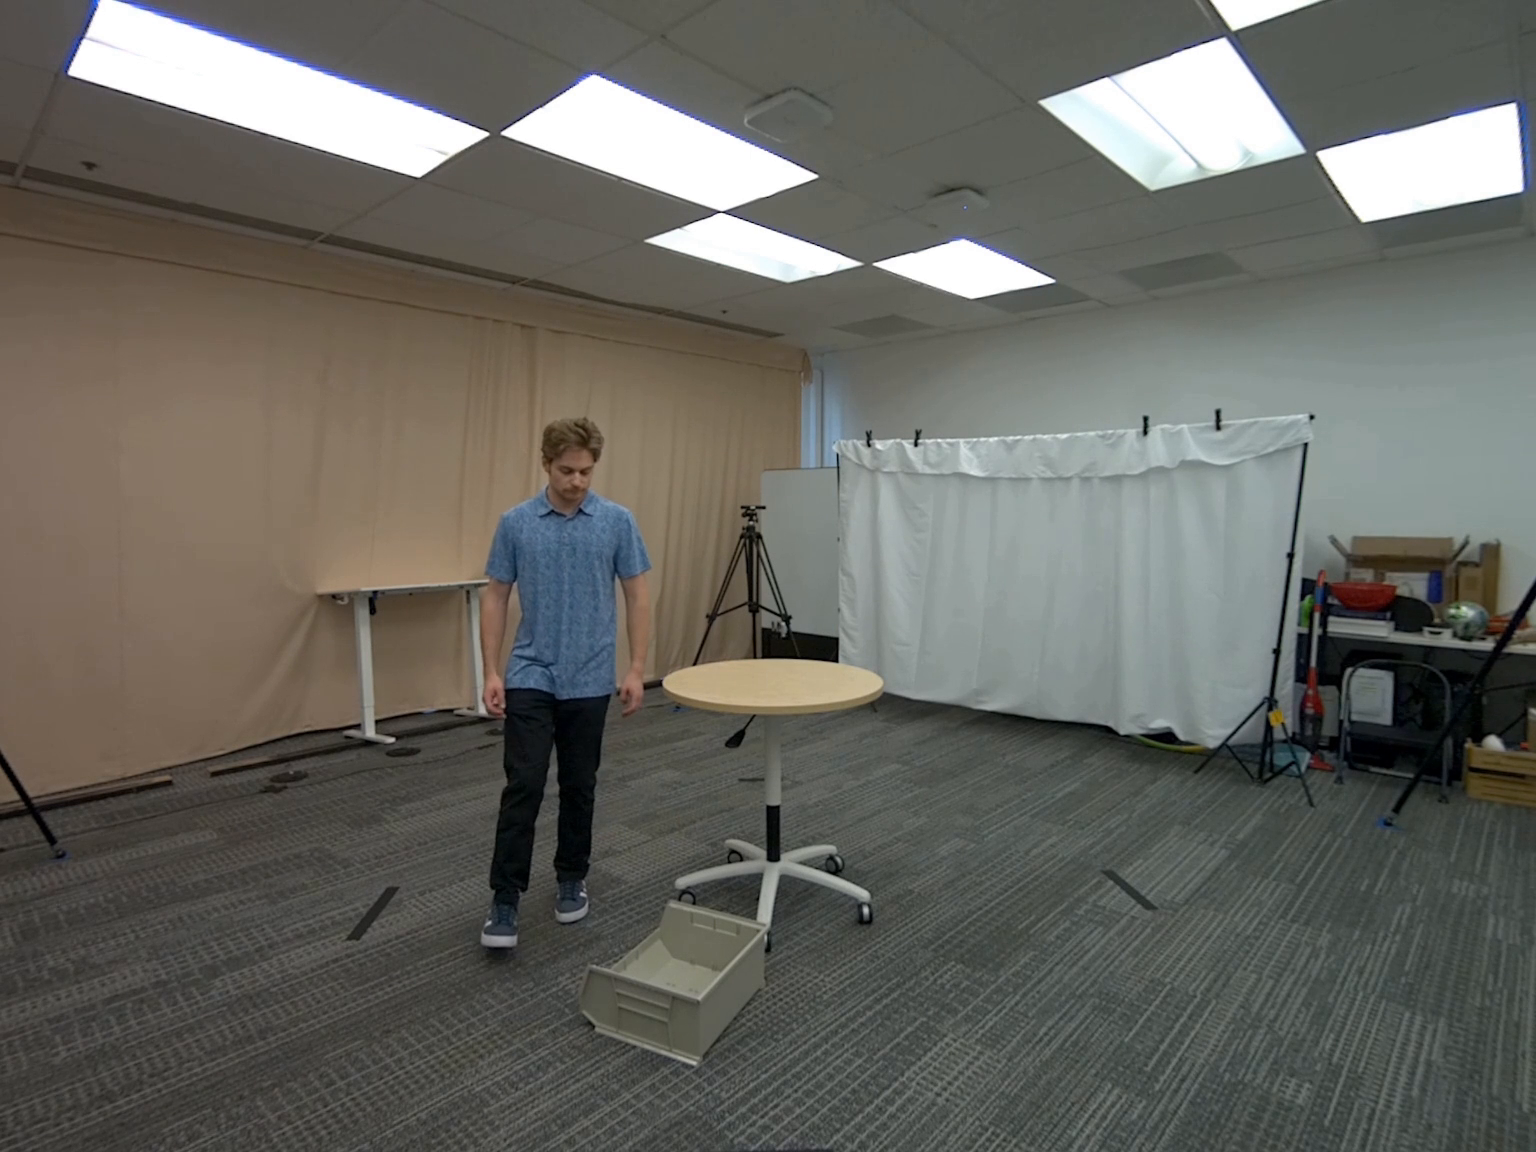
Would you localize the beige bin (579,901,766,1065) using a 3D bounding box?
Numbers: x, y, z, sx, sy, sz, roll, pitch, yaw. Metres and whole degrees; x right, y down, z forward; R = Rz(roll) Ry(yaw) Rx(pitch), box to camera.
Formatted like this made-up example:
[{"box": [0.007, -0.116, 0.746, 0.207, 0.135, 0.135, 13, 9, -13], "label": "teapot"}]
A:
[{"box": [-0.249, 1.111, 2.343, 0.388, 0.188, 0.412, 3, 5, 26], "label": "beige bin"}]
